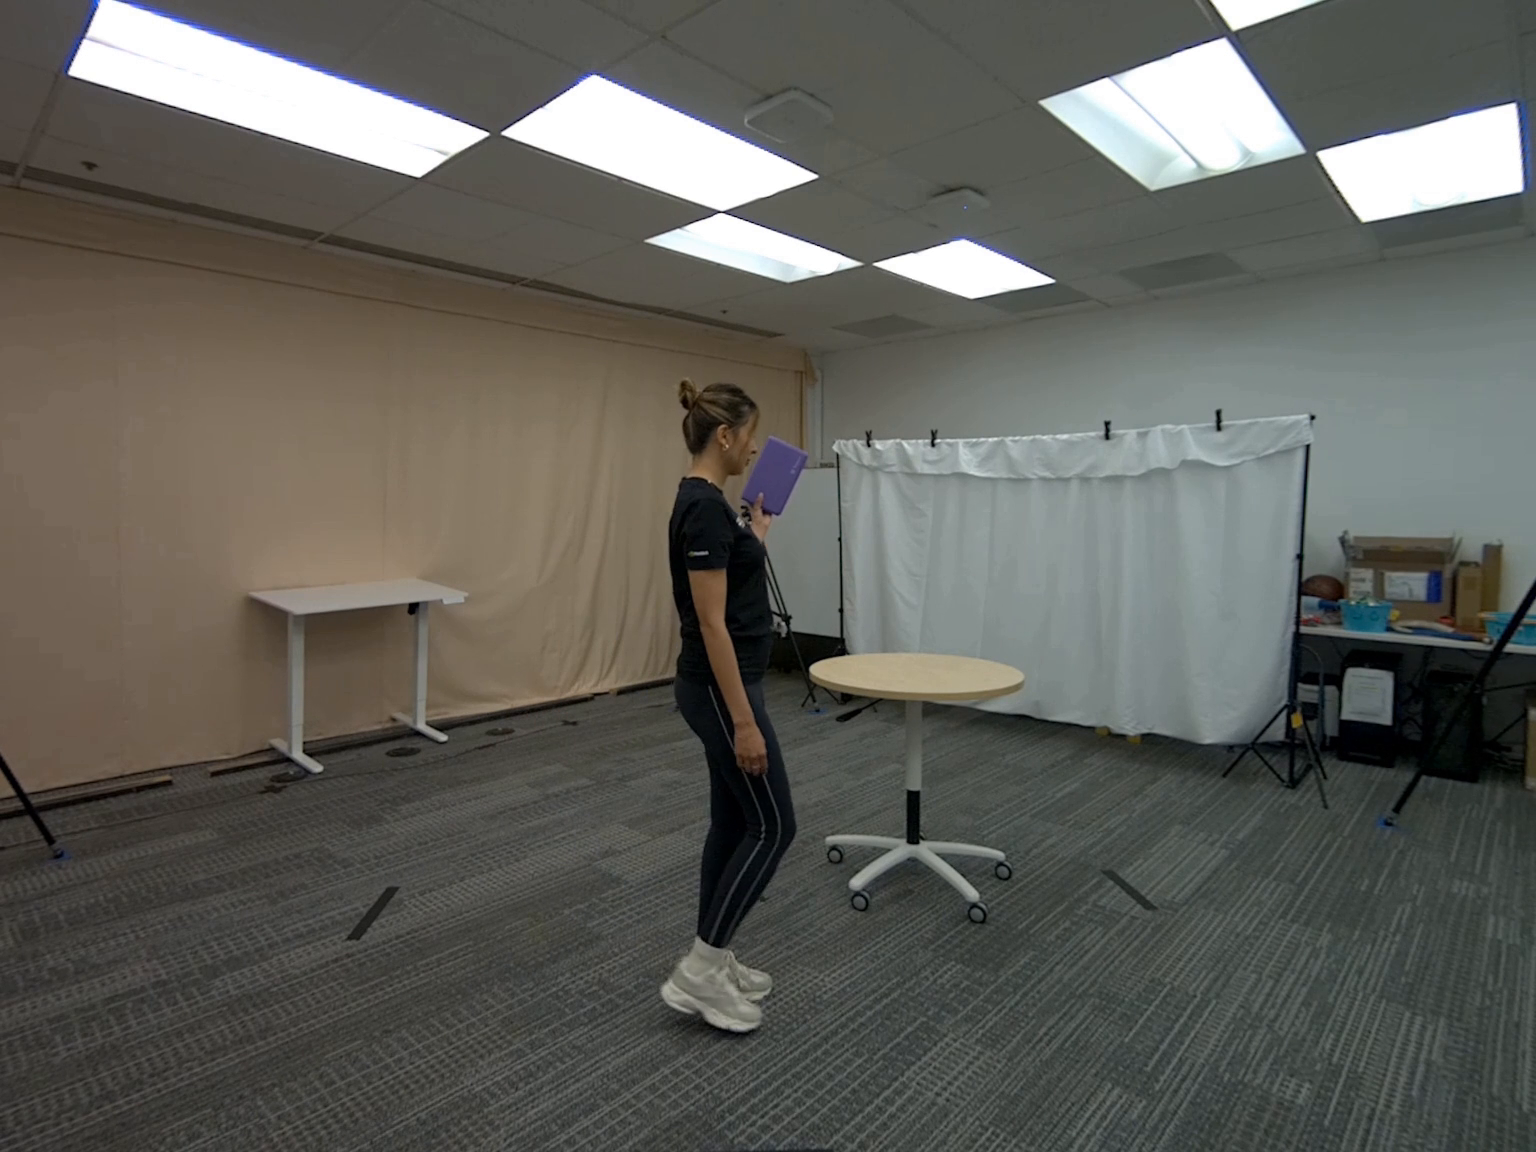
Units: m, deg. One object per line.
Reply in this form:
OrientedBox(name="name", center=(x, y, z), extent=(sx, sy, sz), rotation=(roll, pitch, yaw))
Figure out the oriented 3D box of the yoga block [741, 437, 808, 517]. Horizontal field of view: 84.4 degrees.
OrientedBox(name="yoga block", center=(0.024, -0.330, 2.808), extent=(0.149, 0.229, 0.076), rotation=(24, 7, 0))
